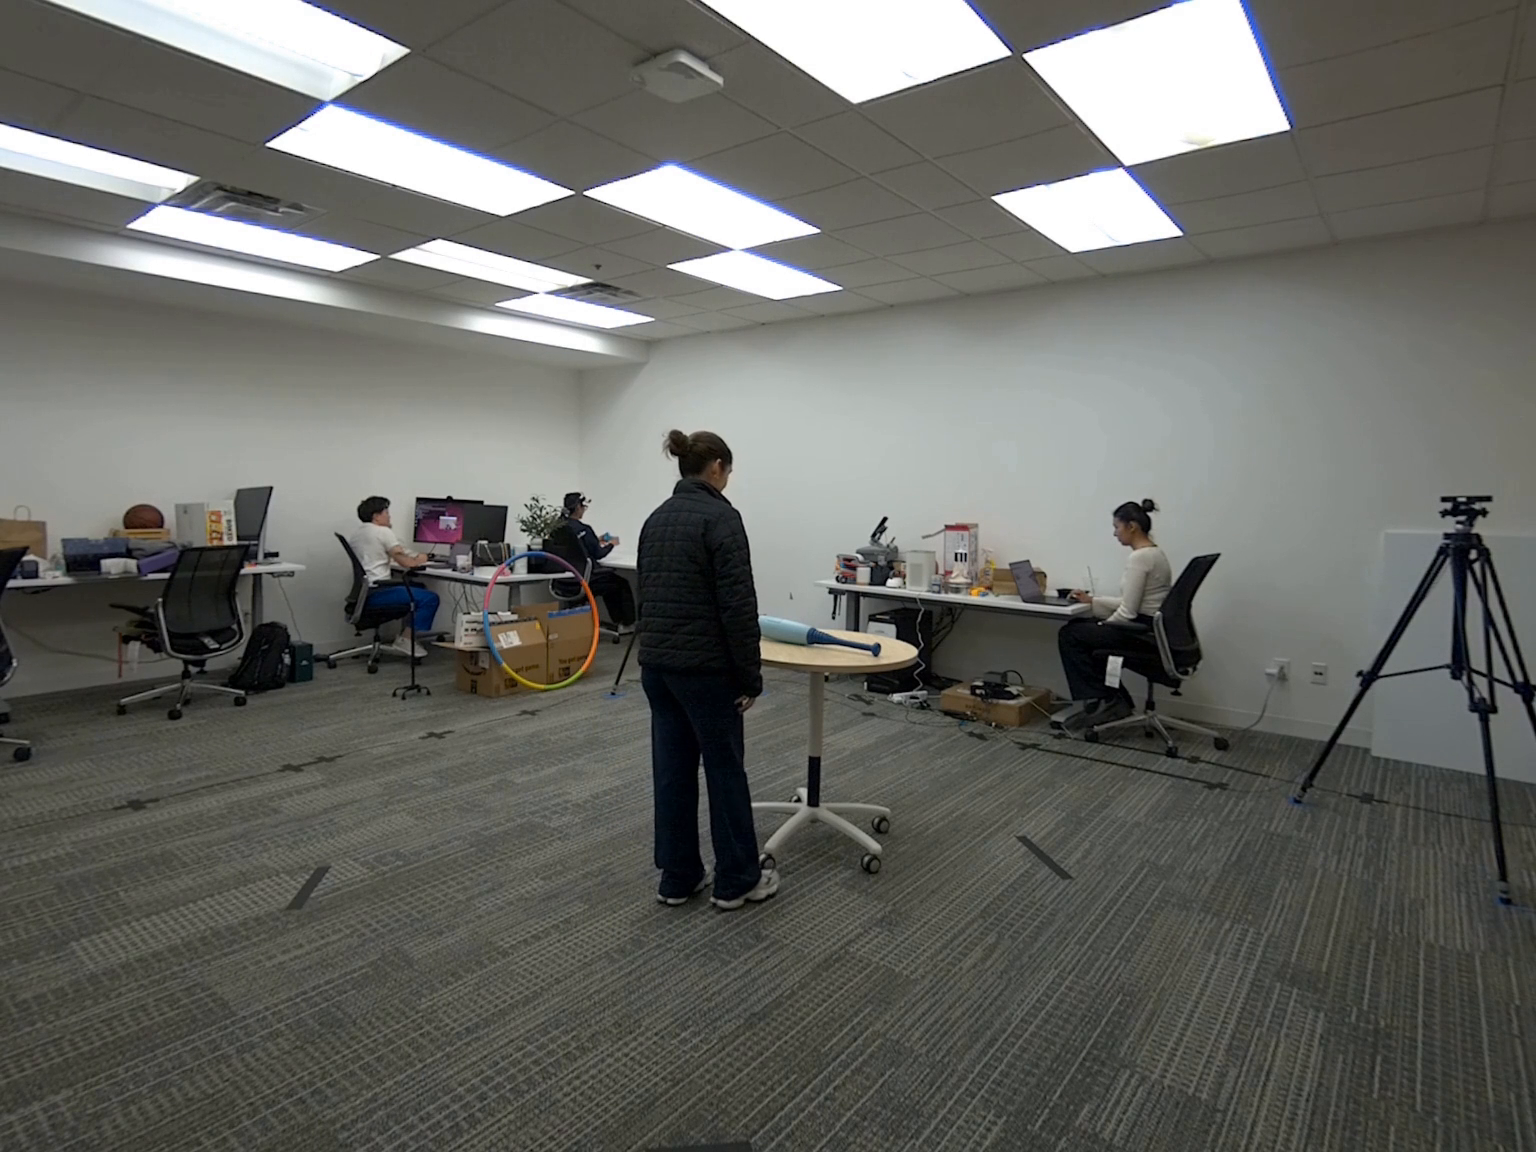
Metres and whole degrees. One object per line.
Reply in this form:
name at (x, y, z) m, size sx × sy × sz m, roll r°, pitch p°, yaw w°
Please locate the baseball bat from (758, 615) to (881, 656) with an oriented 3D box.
baseball bat at (0.202, 0.233, 3.305) m, size 0.561 × 0.088 × 0.086 m, roll 9°, pitch 8°, yaw 34°
